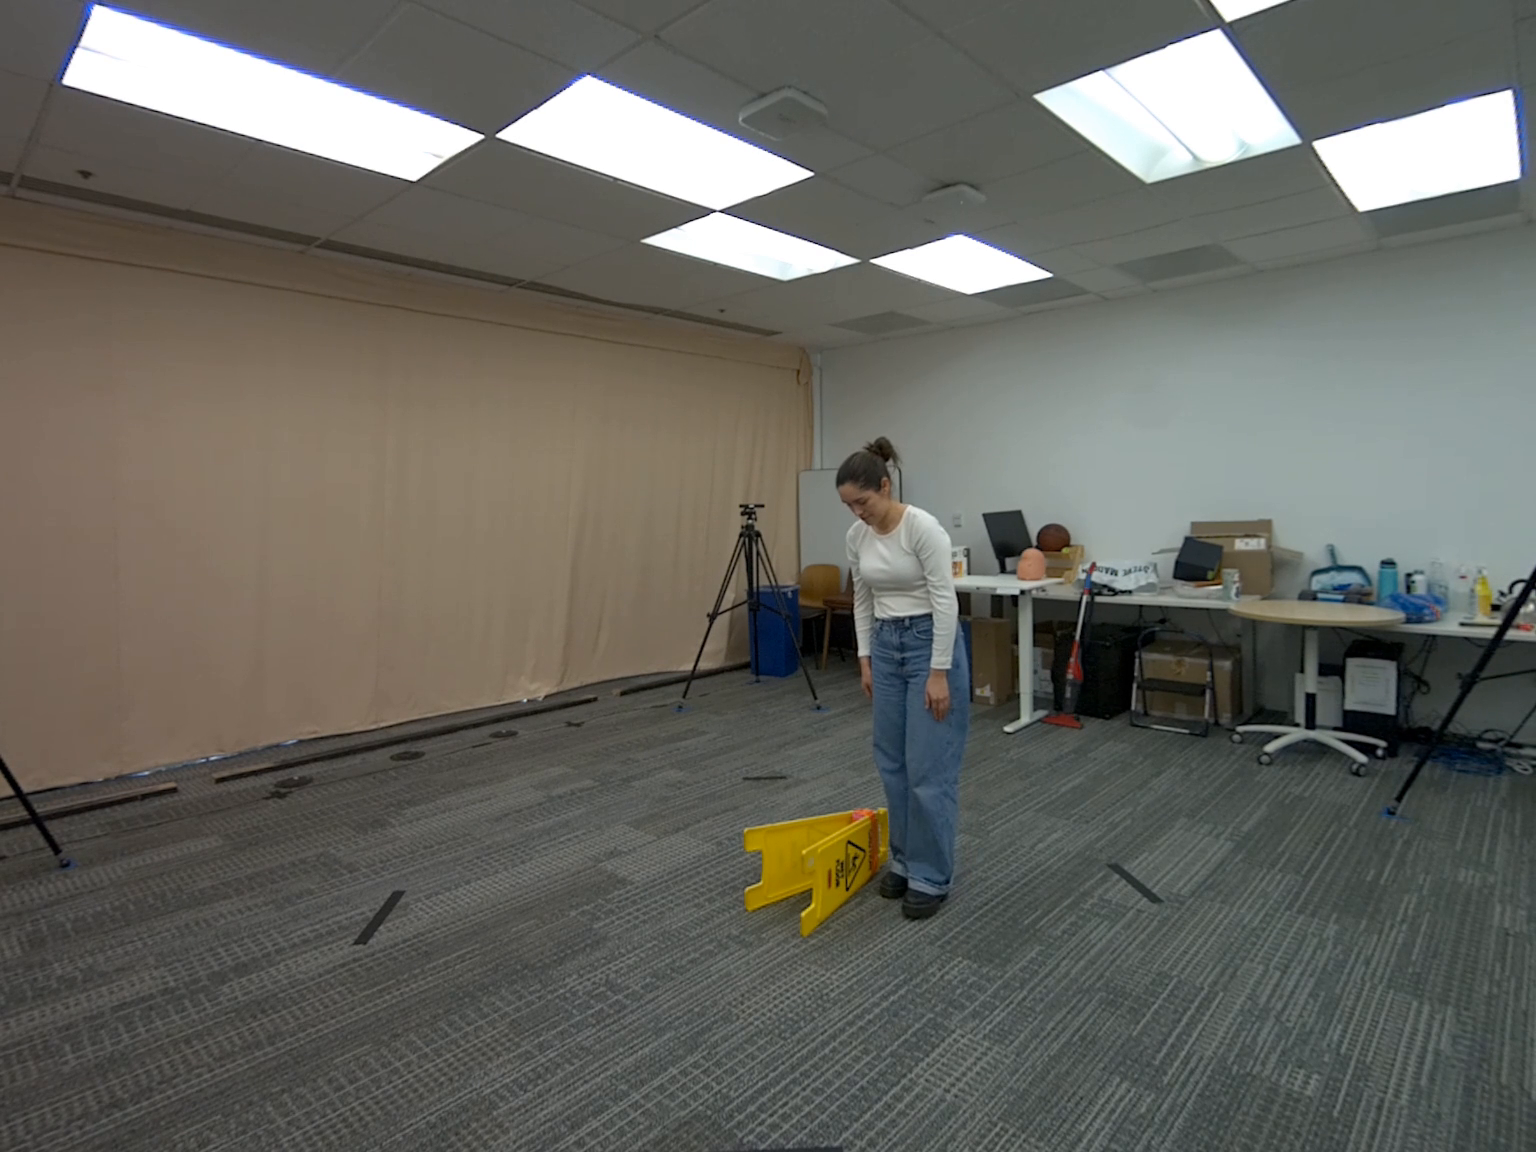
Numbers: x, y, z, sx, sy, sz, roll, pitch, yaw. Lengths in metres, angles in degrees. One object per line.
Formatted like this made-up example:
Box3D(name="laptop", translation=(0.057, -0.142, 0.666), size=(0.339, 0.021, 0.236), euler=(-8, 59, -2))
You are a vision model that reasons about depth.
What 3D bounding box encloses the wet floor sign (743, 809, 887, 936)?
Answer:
Box3D(name="wet floor sign", translation=(0.238, 1.004, 3.013), size=(0.299, 0.282, 0.626), euler=(4, 5, 44))
